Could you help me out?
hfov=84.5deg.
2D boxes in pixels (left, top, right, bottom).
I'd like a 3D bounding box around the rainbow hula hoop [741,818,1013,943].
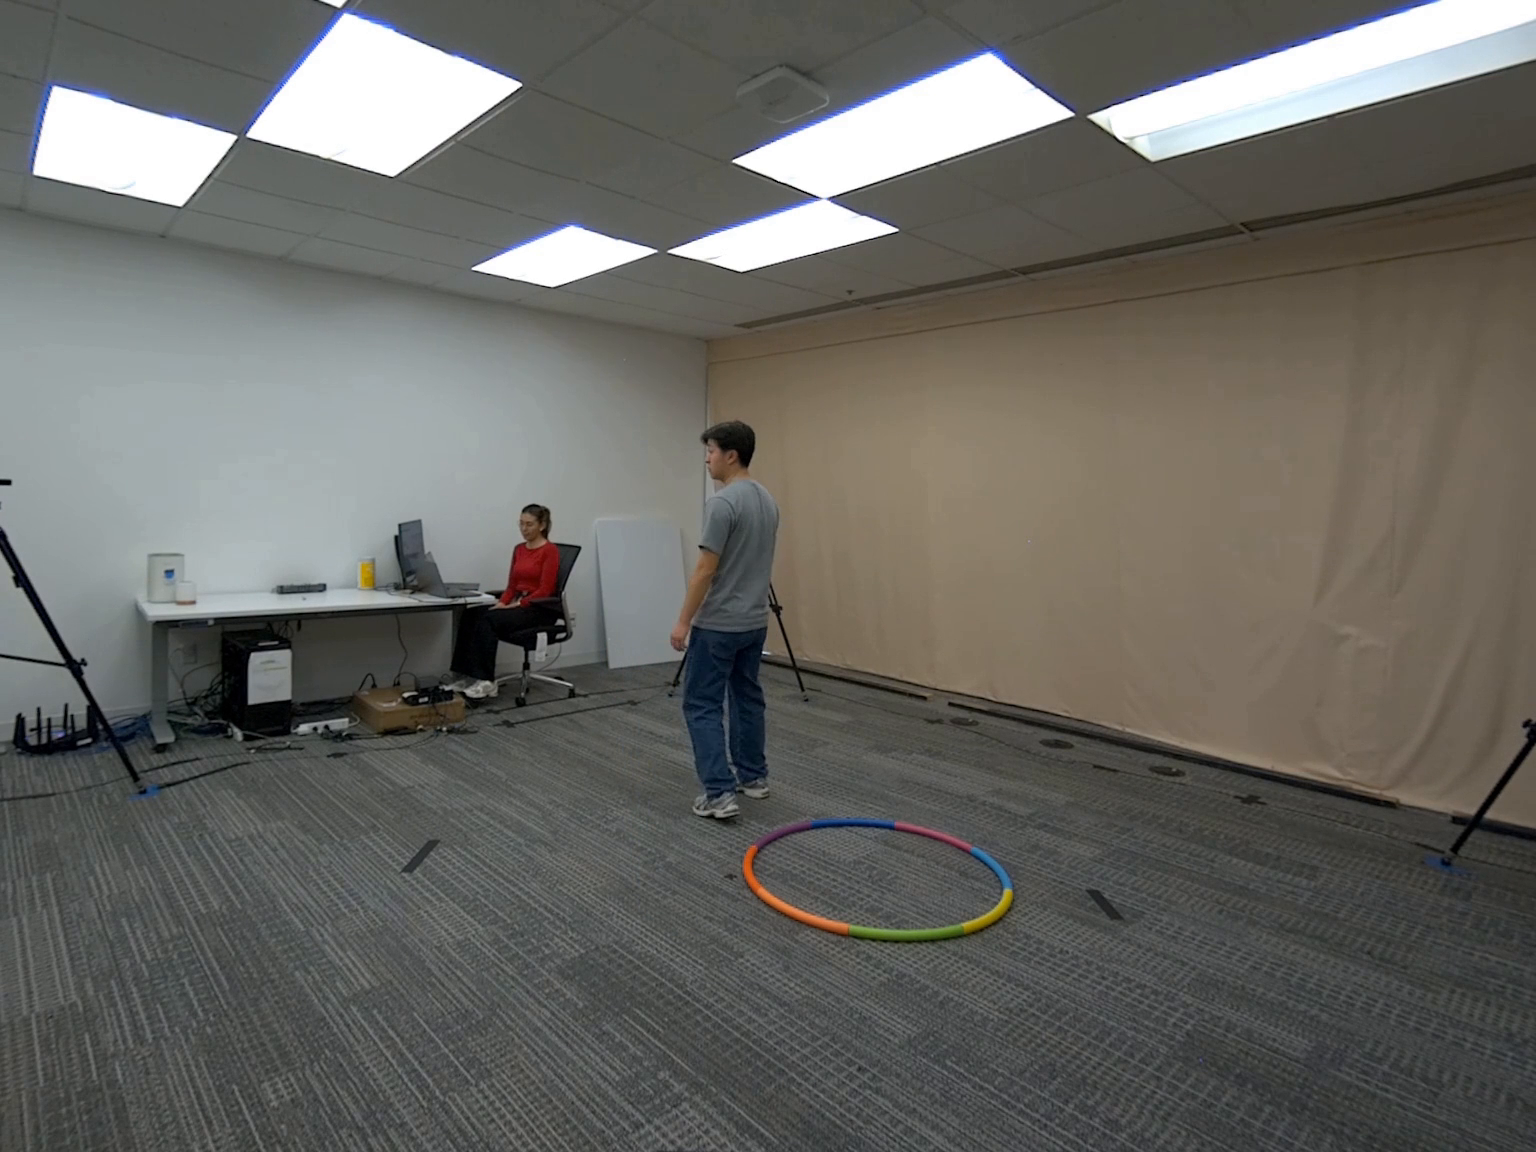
[{"bbox_3d":[0.379,1.082,3.152,0.978,0.035,0.982,1,5,-1],"label":"rainbow hula hoop"}]
